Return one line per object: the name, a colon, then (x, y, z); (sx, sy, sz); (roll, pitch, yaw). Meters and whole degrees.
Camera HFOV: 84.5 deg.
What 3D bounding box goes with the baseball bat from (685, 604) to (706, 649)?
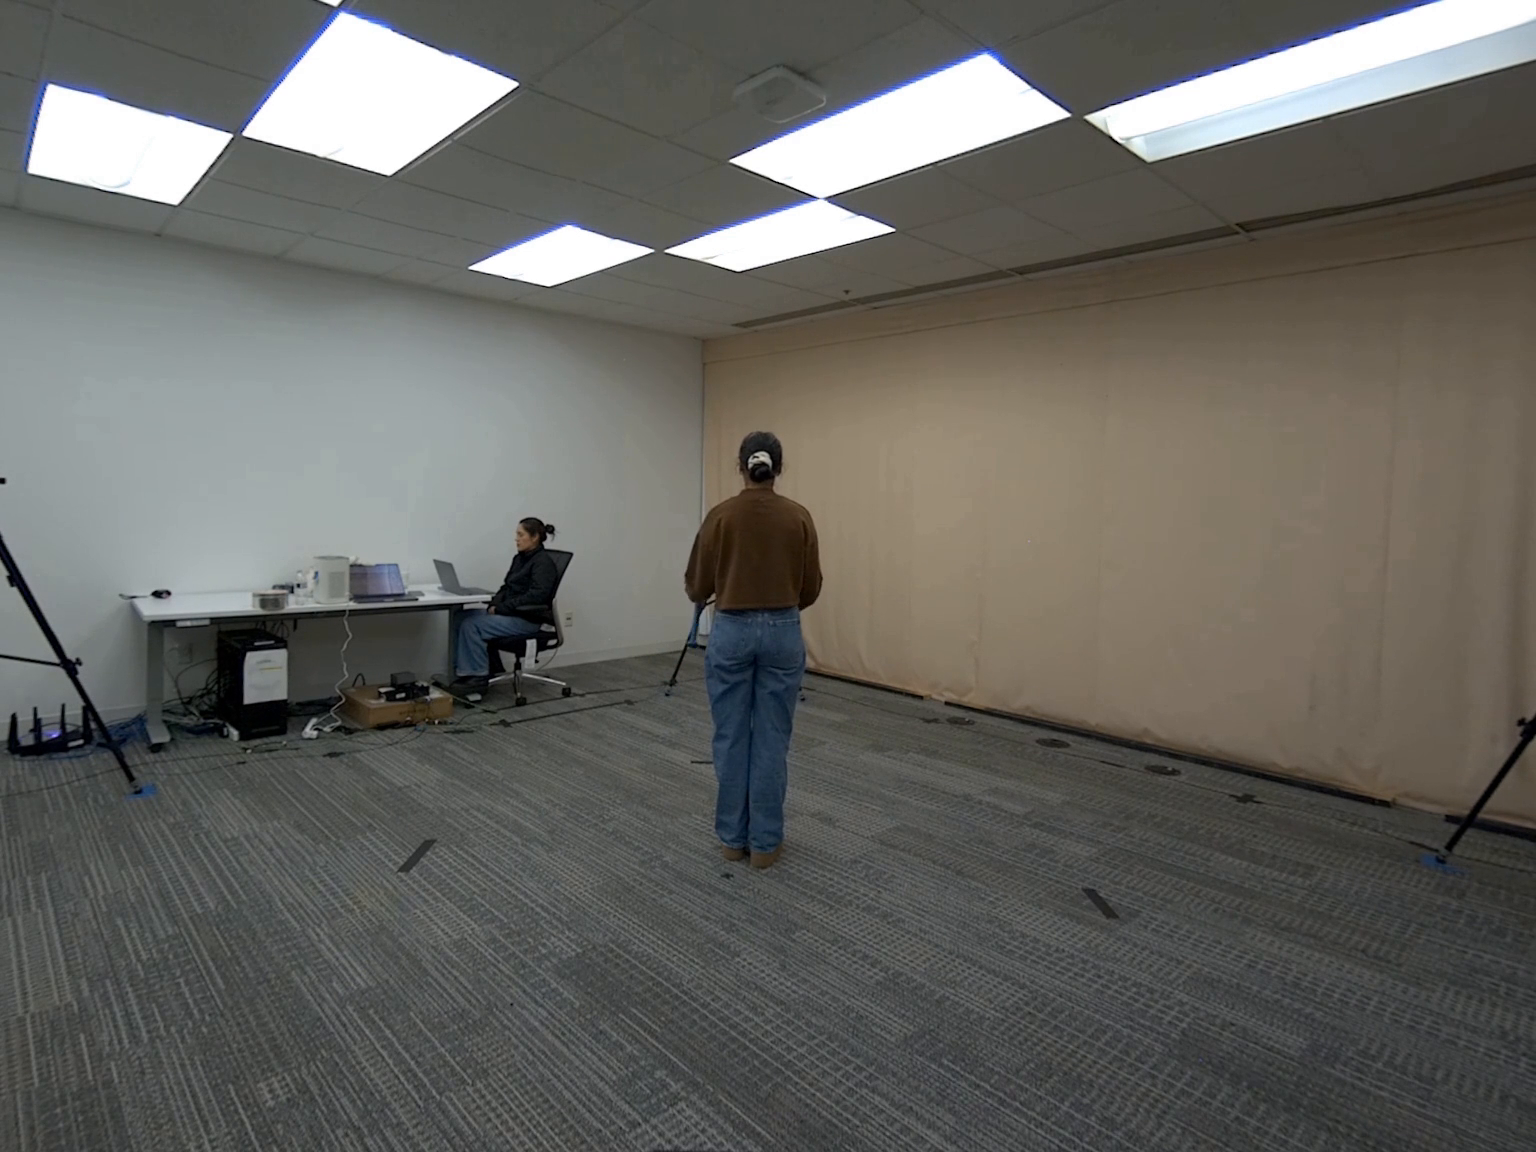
baseball bat: (-0.288, 0.068, 3.599); (0.089, 0.550, 0.087); (8, -24, 2)
